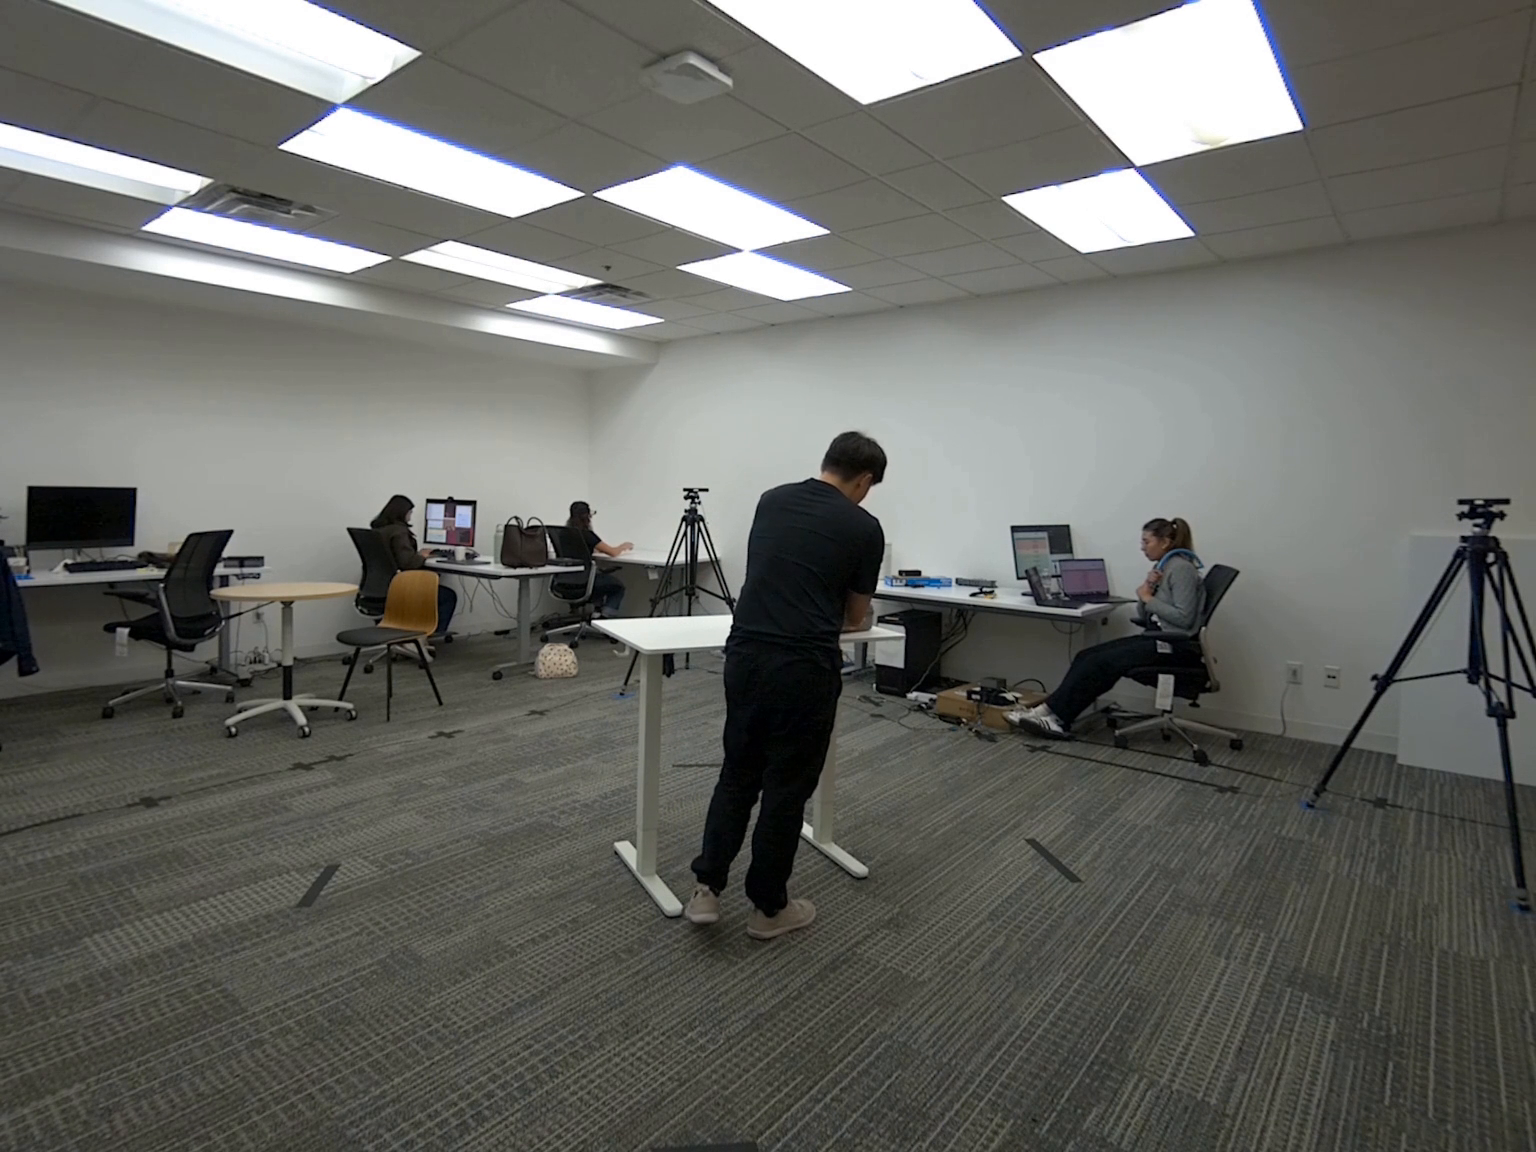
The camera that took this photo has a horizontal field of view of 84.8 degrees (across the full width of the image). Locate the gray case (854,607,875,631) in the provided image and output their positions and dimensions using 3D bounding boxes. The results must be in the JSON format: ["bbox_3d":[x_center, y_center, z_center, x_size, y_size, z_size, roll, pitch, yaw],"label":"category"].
[{"bbox_3d":[0.216,0.141,3.185,0.254,0.104,0.265,-4,9,-30],"label":"gray case"}]
